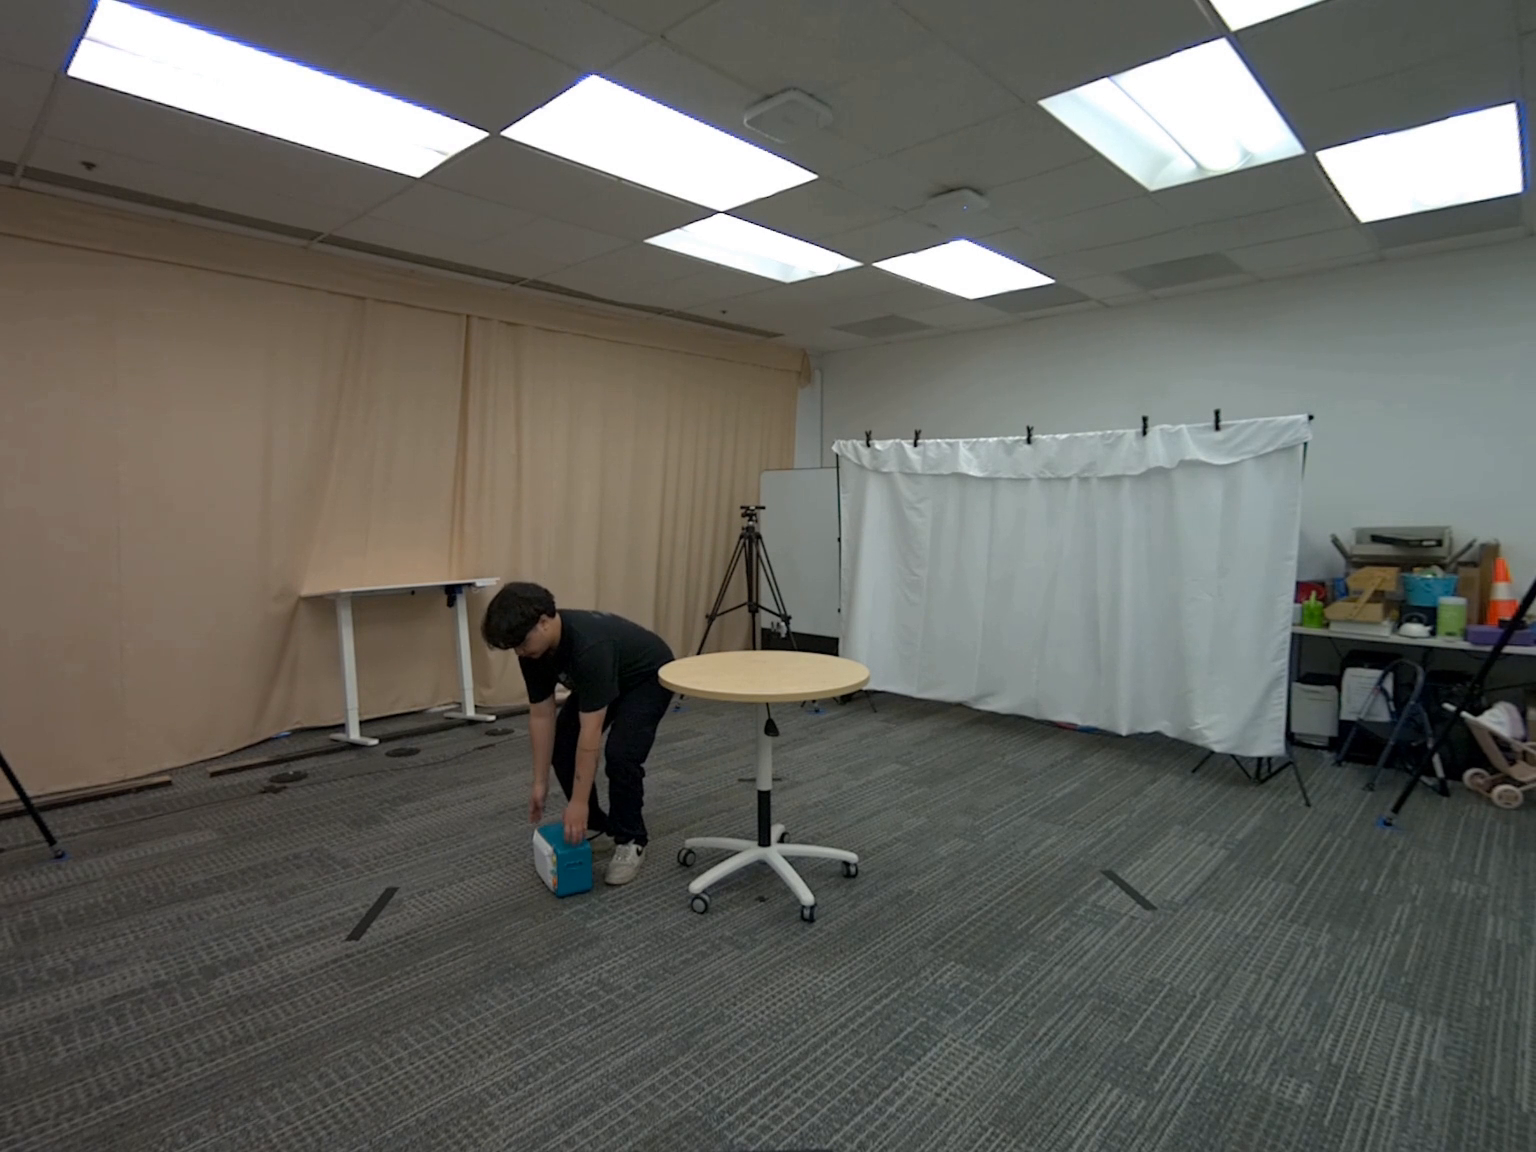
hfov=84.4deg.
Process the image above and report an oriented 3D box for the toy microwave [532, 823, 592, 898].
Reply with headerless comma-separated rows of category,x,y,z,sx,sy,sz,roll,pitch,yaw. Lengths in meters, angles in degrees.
toy microwave,-0.765,1.044,3.131,0.148,0.184,0.294,-3,4,-32
